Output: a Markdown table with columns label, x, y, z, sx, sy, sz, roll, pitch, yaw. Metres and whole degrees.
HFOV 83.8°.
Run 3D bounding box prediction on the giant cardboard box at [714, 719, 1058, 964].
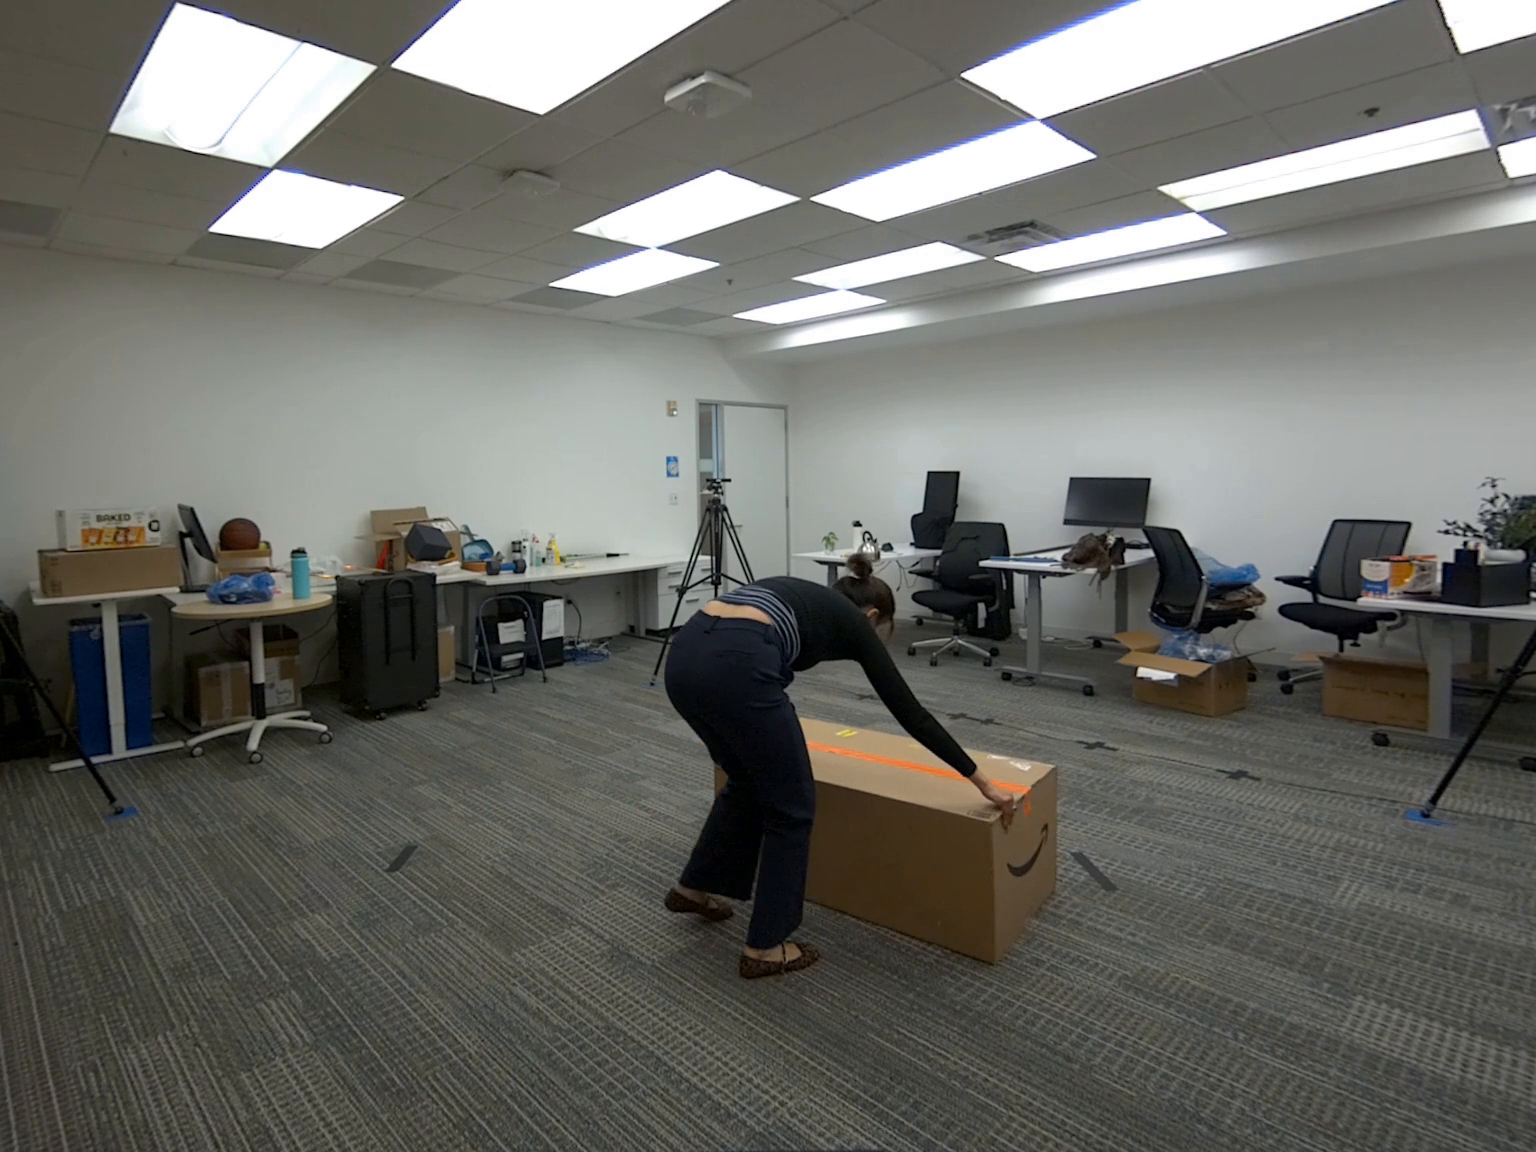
| label | x | y | z | sx | sy | sz | roll | pitch | yaw |
| --- | --- | --- | --- | --- | --- | --- | --- | --- | --- |
| giant cardboard box | 0.386 | 0.839 | 2.957 | 1.056 | 0.424 | 0.563 | 4 | 7 | 37 |
